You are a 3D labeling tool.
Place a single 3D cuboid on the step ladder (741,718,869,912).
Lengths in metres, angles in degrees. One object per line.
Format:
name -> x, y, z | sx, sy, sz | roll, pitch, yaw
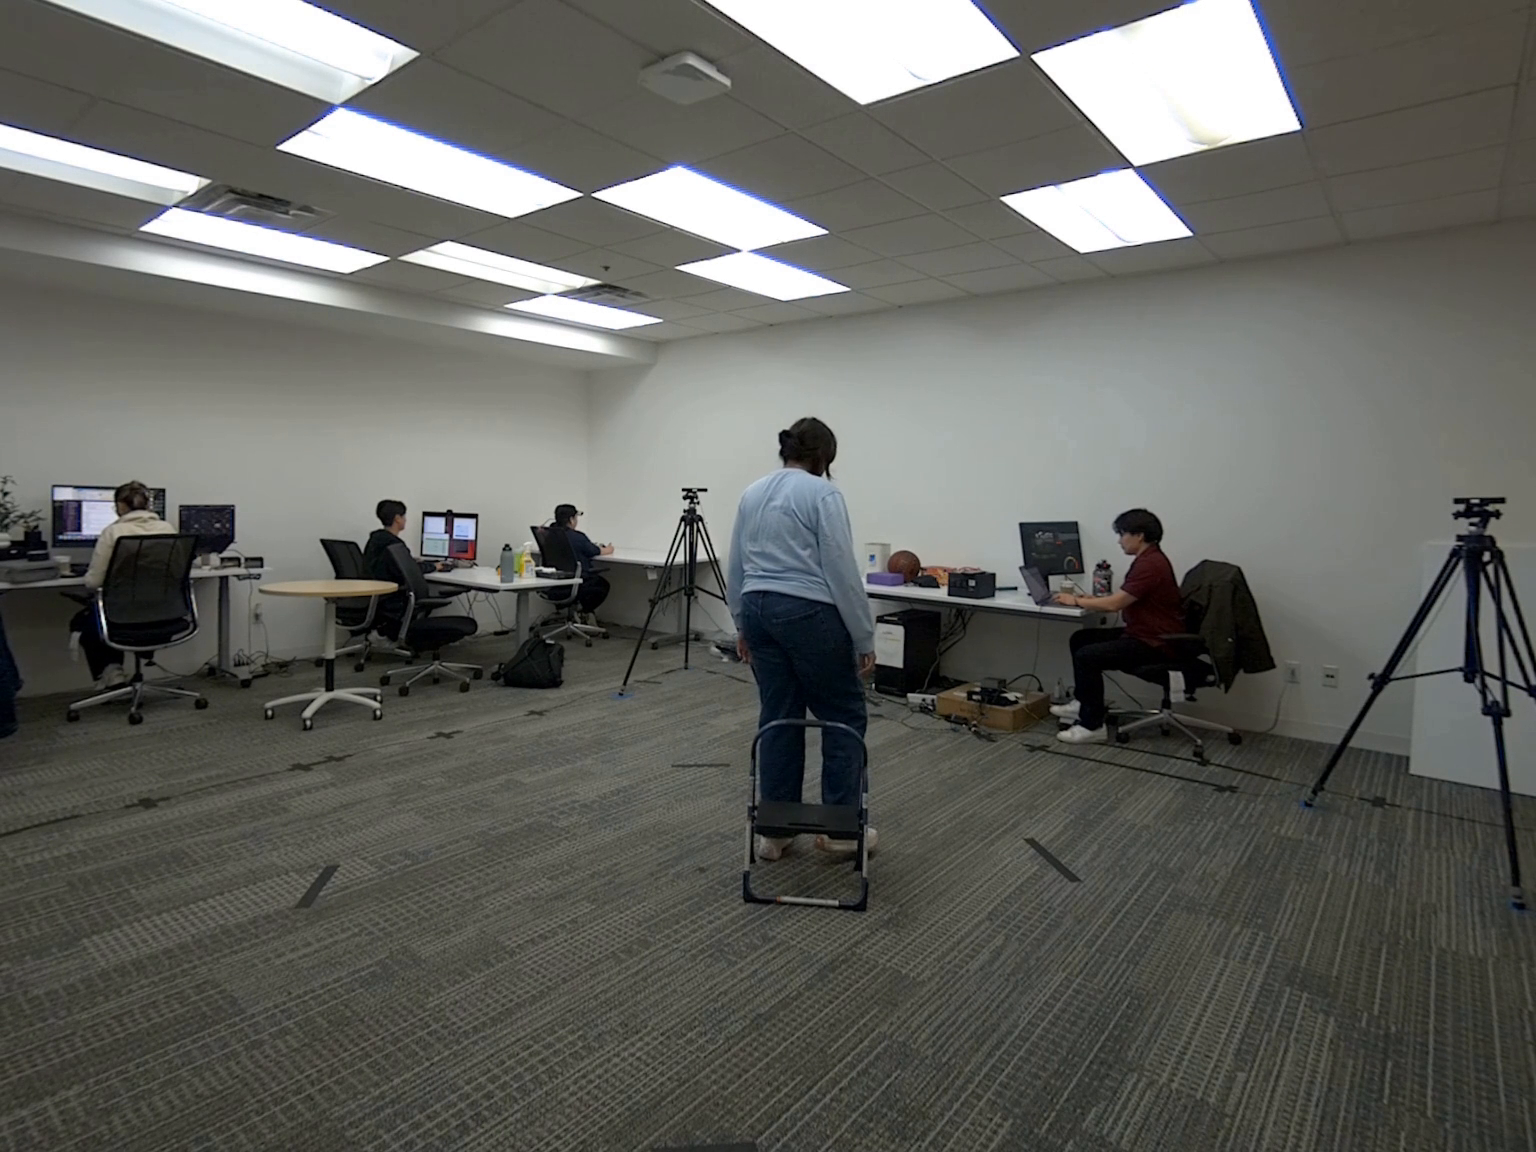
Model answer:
step ladder -> 0.131, 0.787, 2.995 | 0.433, 0.605, 0.348 | 1, 2, 5
